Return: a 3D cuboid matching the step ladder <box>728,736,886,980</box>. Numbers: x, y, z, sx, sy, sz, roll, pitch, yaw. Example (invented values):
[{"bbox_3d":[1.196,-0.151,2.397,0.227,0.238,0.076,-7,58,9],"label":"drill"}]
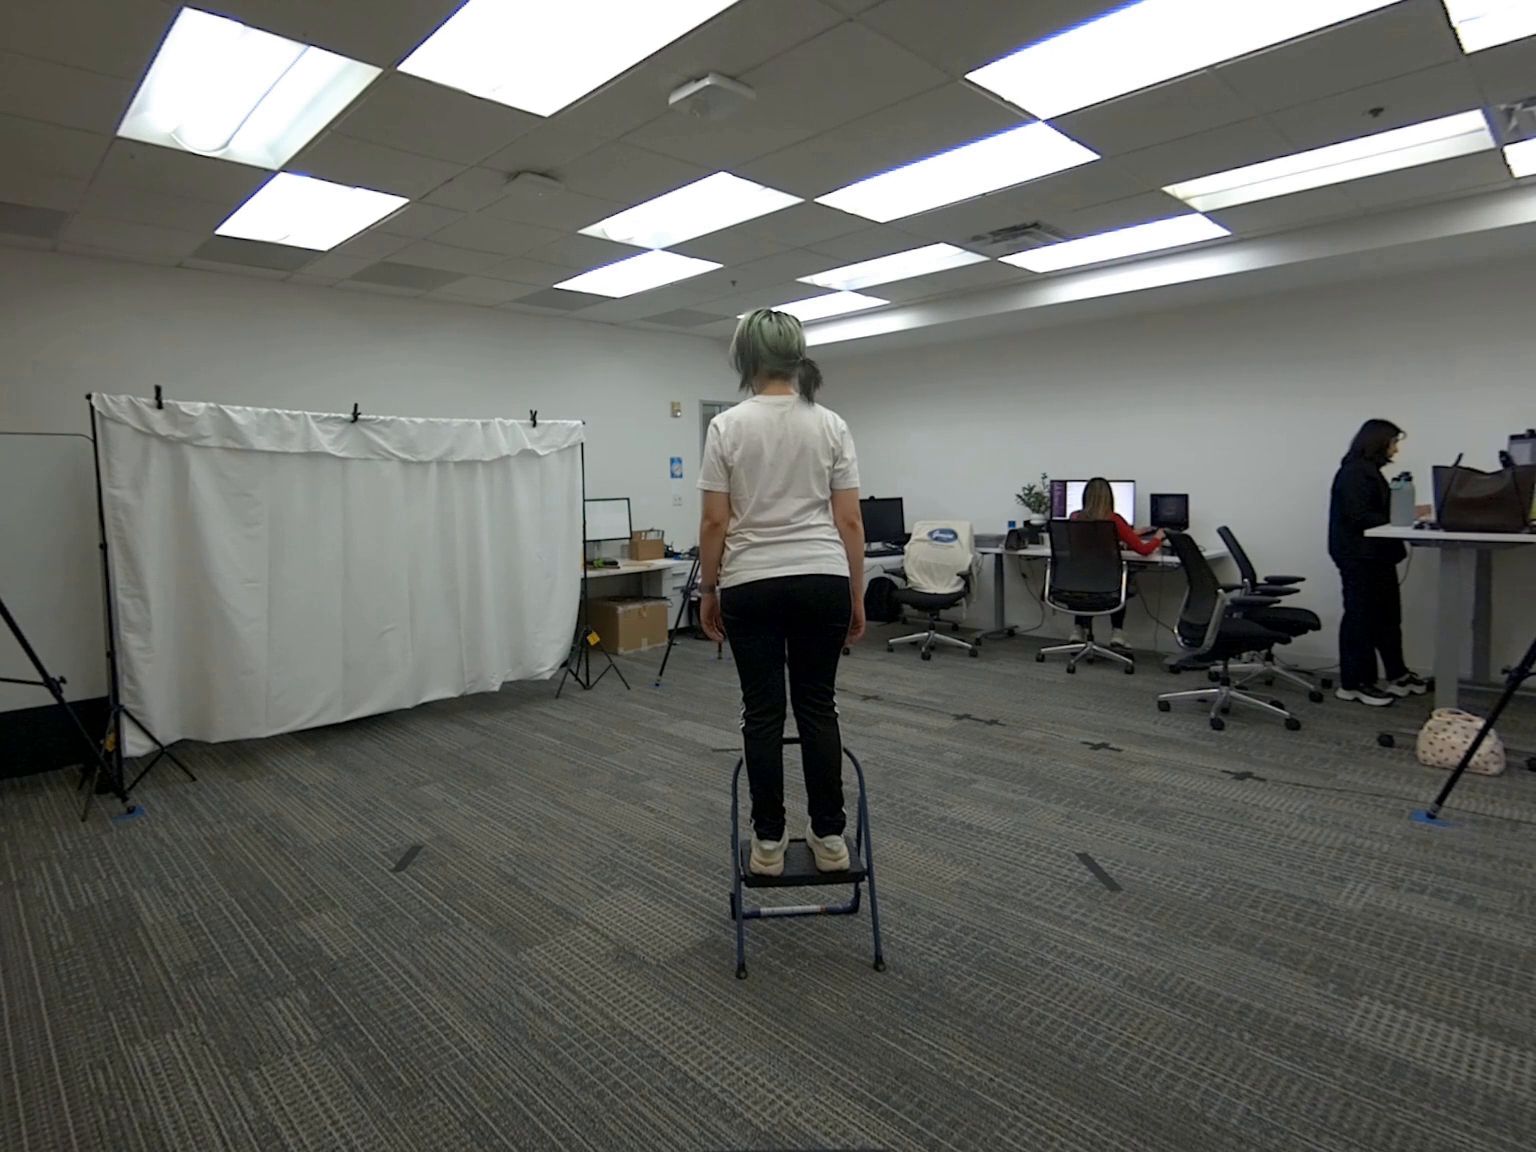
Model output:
[{"bbox_3d":[0.104,0.808,2.565,0.429,0.603,0.352,-1,5,-5],"label":"step ladder"}]
